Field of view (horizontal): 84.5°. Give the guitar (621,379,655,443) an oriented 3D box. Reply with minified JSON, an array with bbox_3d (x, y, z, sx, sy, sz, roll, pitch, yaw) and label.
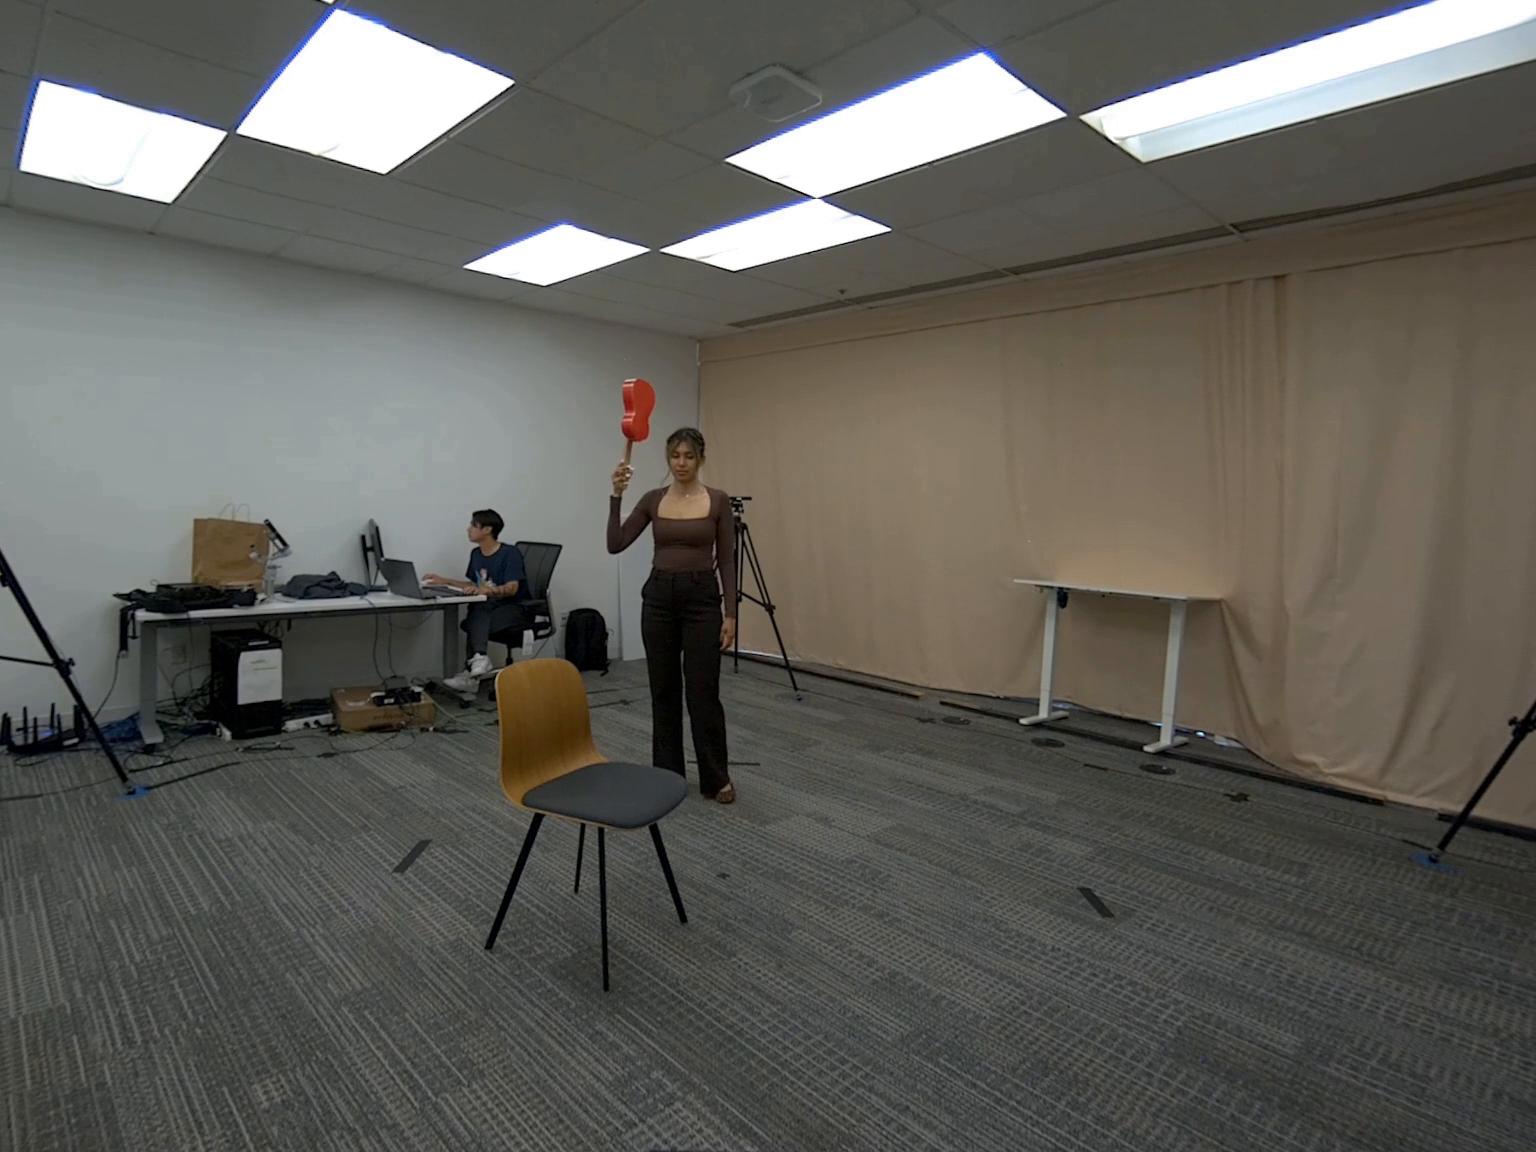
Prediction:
[{"bbox_3d":[-0.604,-0.635,3.814,0.072,0.497,0.190,3,2,22],"label":"guitar"}]
